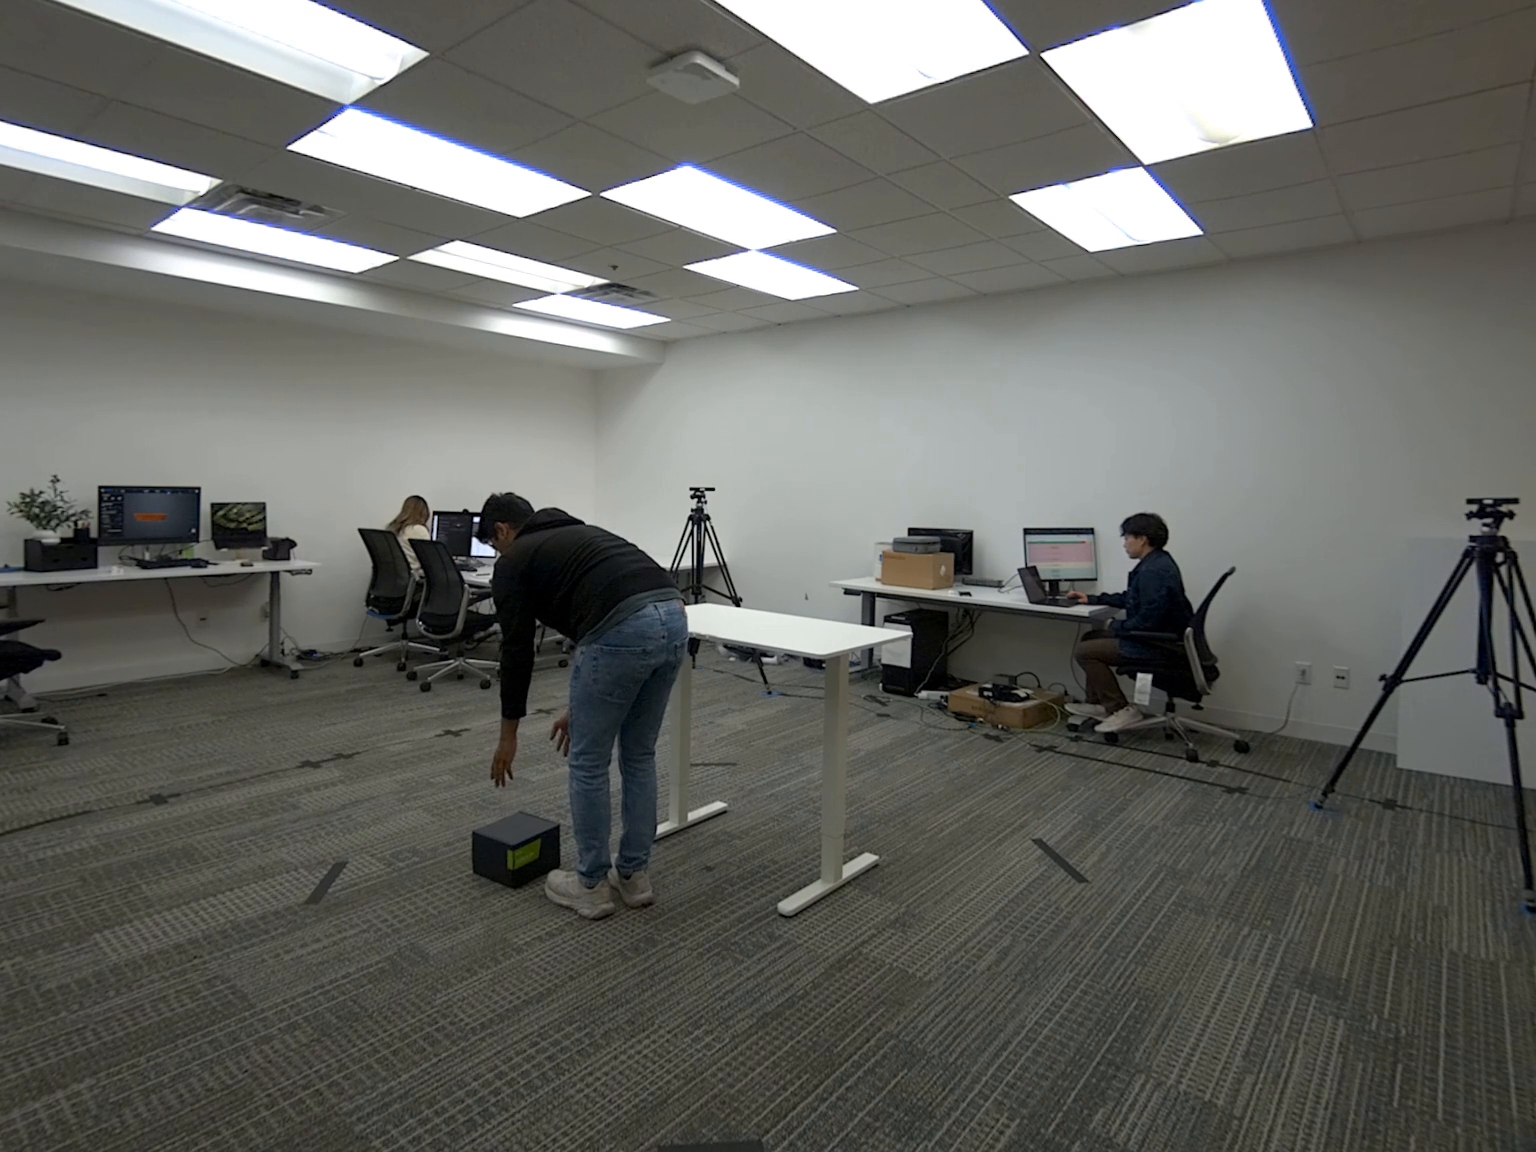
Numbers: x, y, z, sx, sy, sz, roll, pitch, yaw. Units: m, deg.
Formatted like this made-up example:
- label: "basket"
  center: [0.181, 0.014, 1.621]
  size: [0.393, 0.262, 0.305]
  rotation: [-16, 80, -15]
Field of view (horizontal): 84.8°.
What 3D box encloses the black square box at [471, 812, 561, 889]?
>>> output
- label: "black square box"
  center: [-0.913, 0.974, 3.061]
  size: [0.224, 0.155, 0.222]
  rotation: [4, 6, 32]
